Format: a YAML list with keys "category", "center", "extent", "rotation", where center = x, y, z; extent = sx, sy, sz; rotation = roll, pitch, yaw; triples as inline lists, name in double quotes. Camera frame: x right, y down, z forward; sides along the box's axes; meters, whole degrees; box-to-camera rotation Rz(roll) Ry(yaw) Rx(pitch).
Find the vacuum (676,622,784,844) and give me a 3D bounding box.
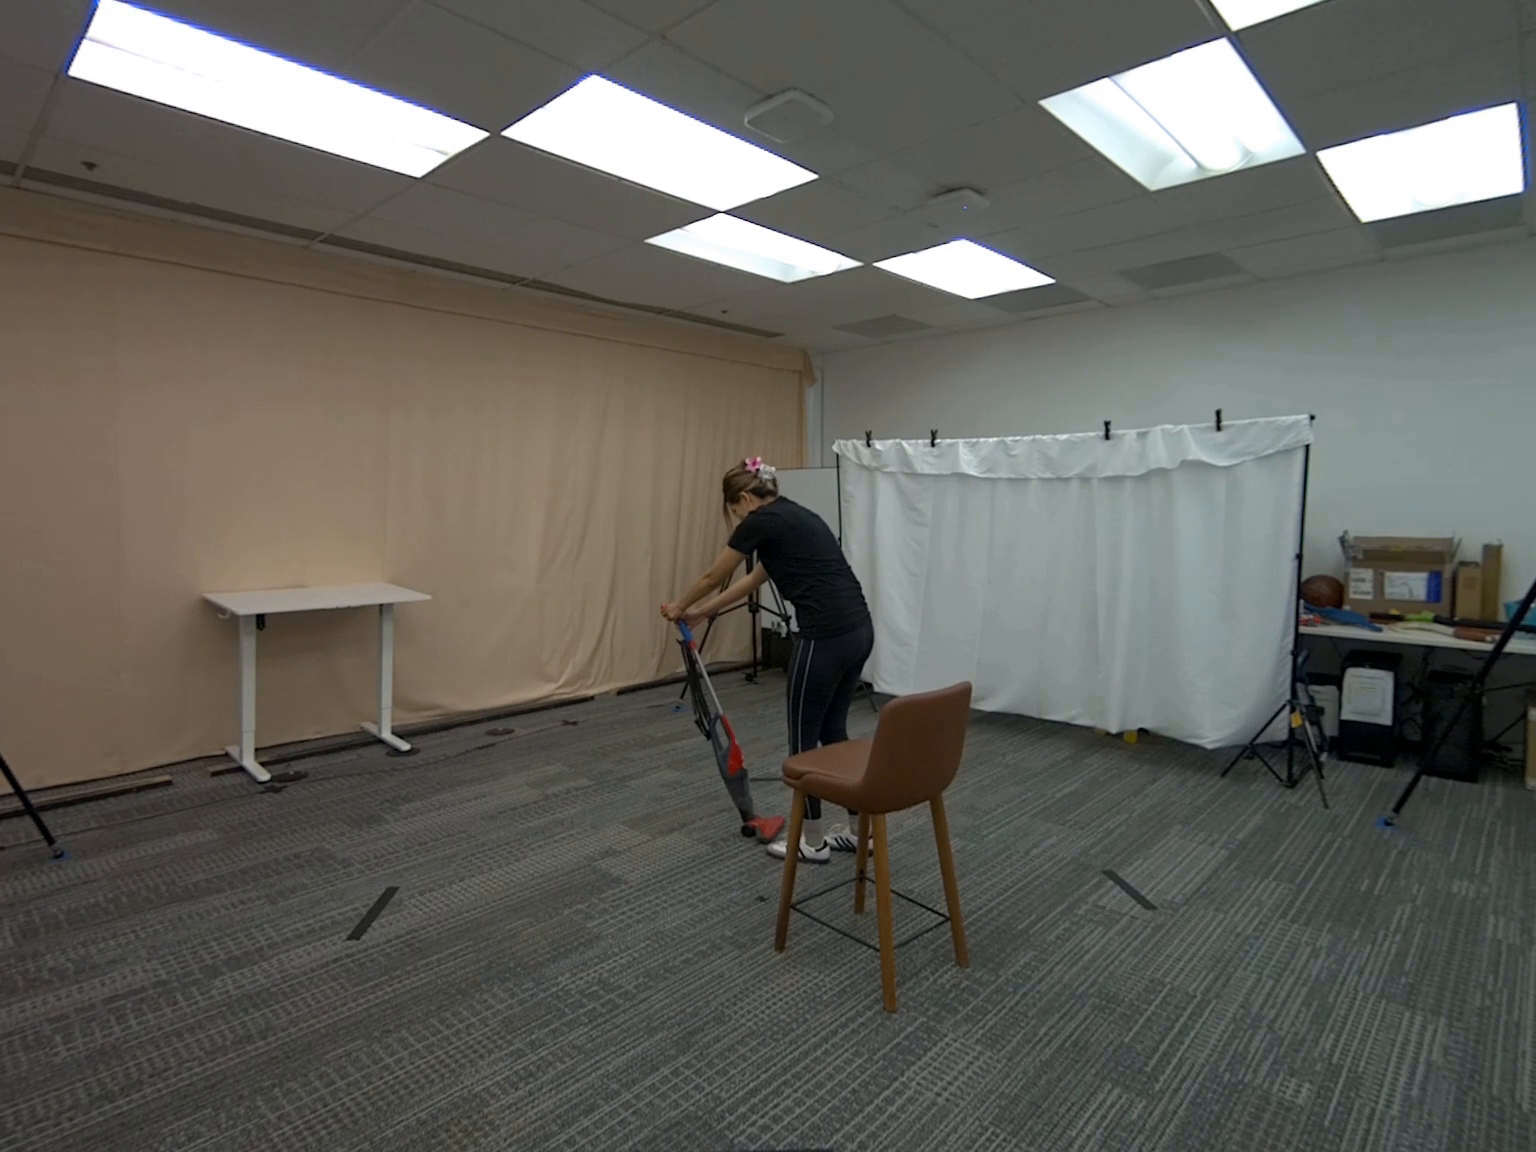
- category: "vacuum"
  center: [-0.238, 0.611, 3.646]
  extent: [0.146, 1.057, 0.247]
  rotation: [-27, -7, 23]
